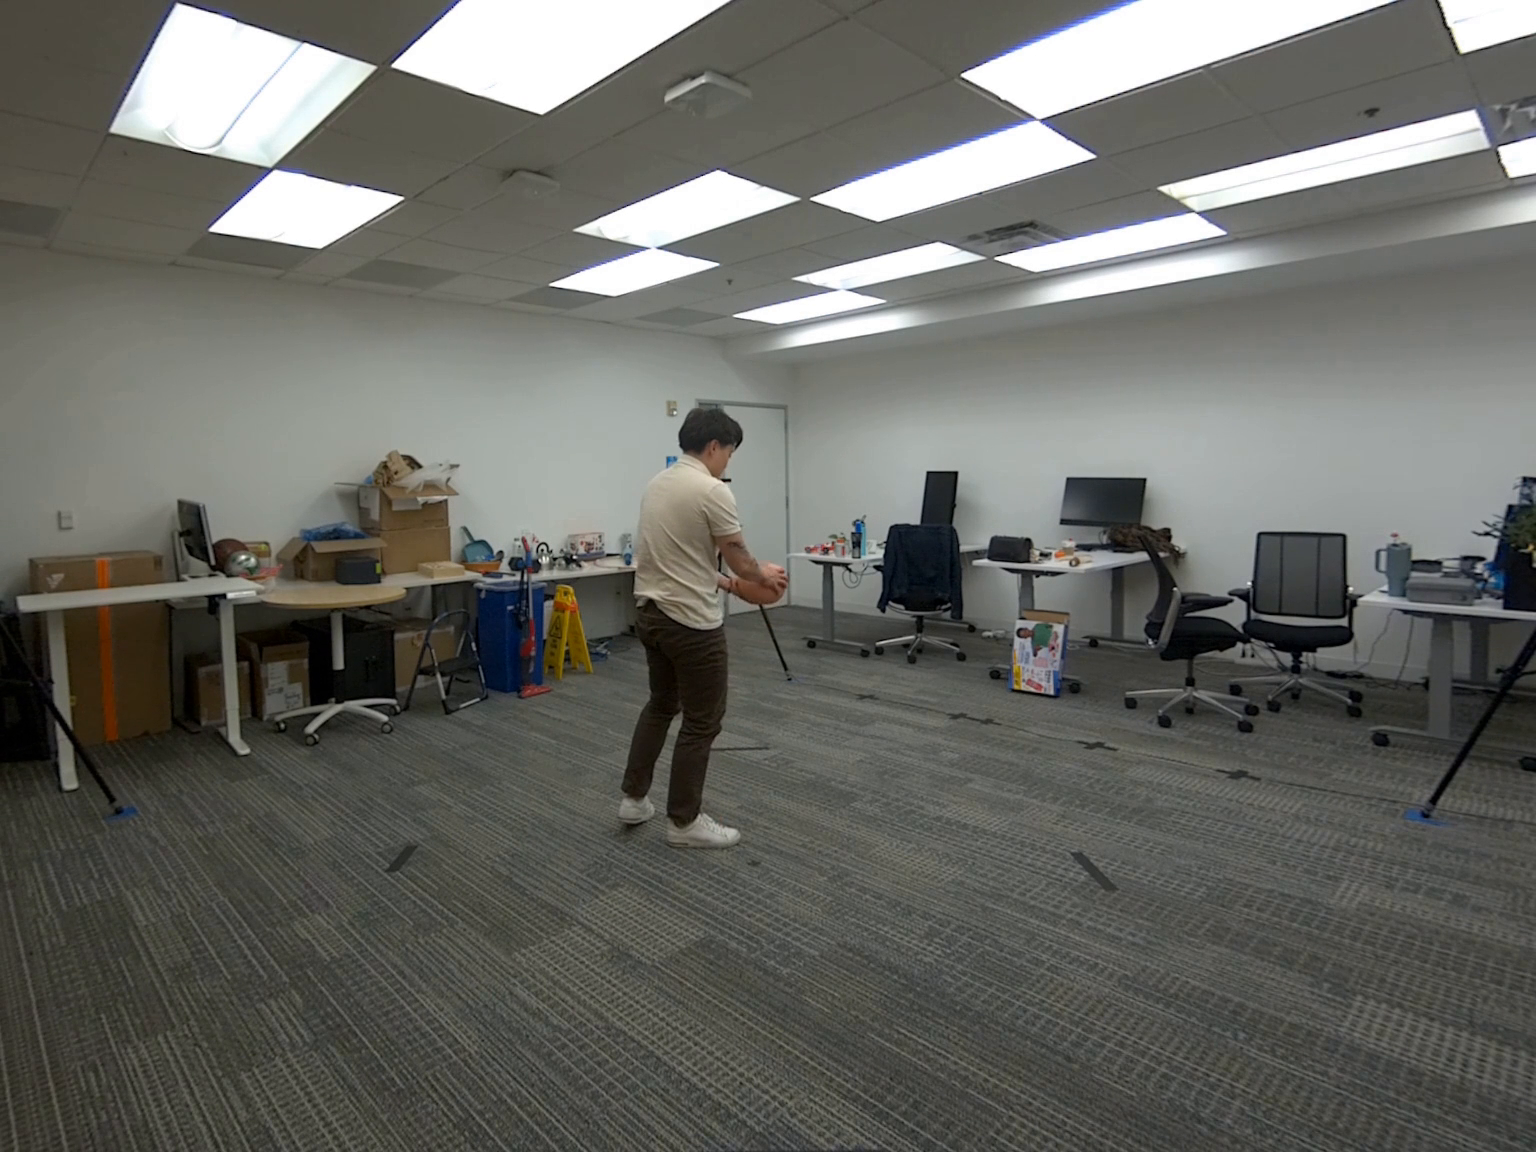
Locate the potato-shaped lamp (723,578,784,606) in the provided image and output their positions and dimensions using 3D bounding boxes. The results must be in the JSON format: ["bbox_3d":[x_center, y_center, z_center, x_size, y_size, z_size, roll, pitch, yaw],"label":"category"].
[{"bbox_3d":[-0.031,0.030,3.516,0.192,0.176,0.165,10,-35,-39],"label":"potato-shaped lamp"}]
